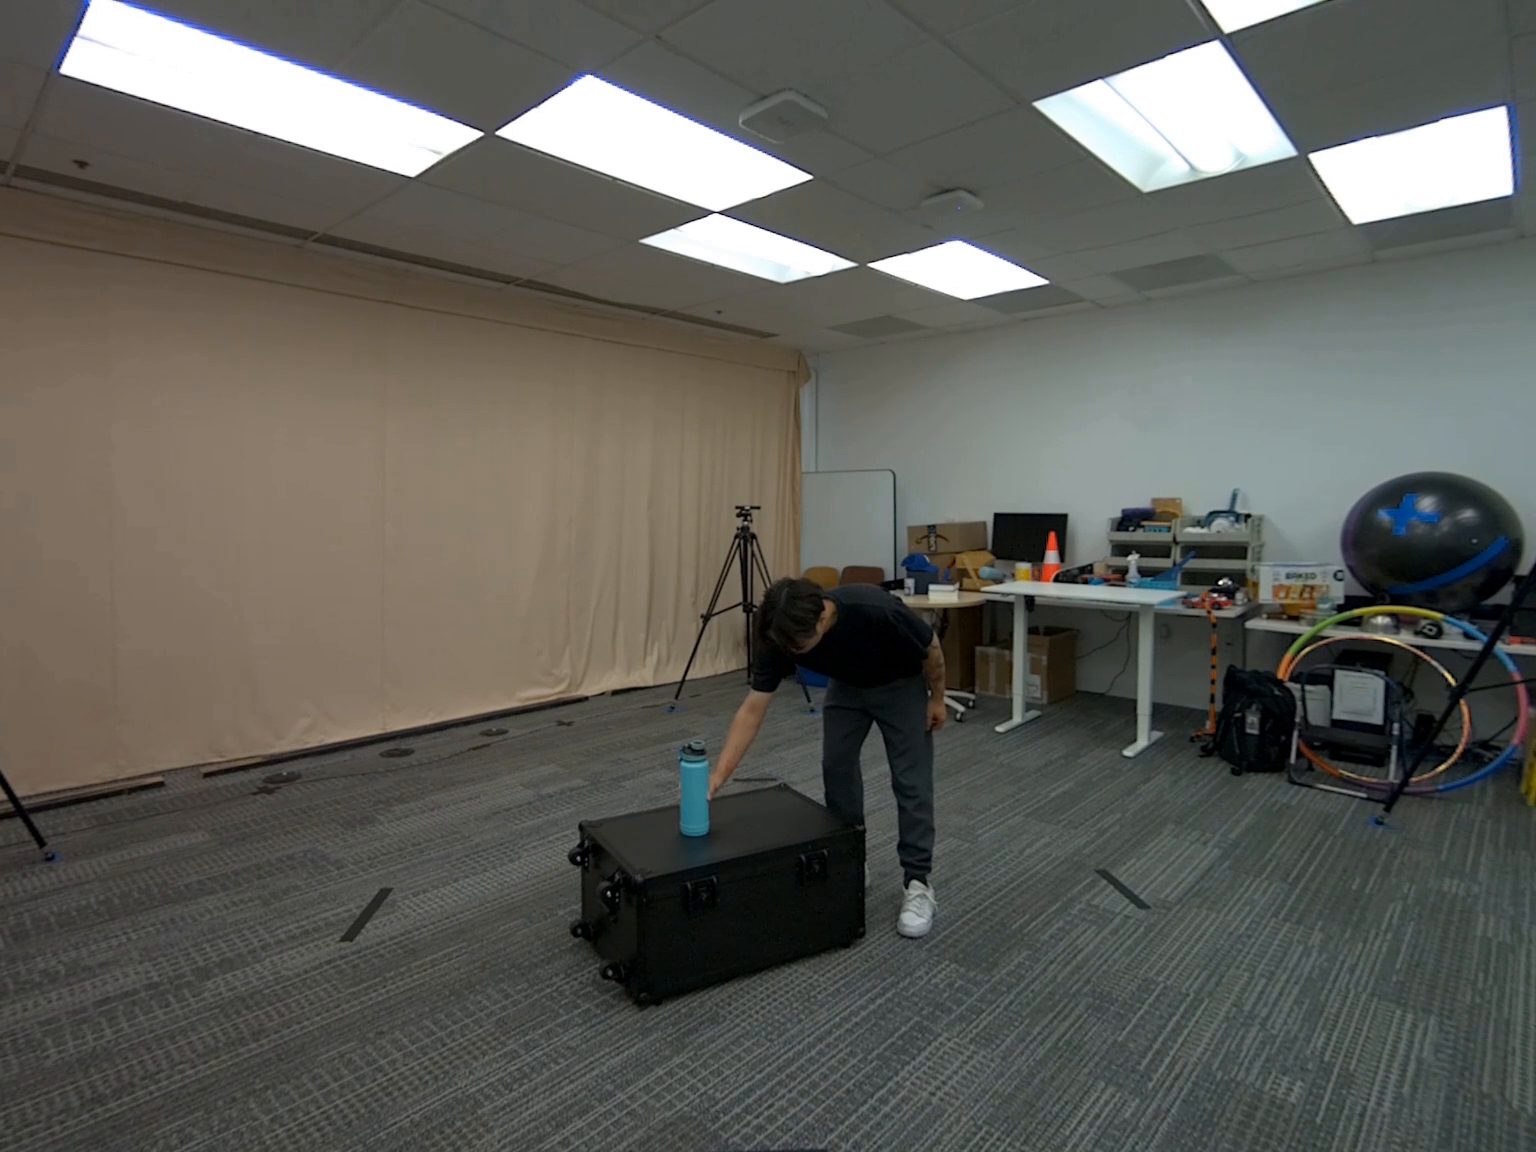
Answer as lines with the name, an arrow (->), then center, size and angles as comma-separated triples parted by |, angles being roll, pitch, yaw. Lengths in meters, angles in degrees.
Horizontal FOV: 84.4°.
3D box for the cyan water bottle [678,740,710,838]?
cyan water bottle -> -0.227, 0.662, 2.632 | 0.092, 0.283, 0.092 | -3, 4, -2
